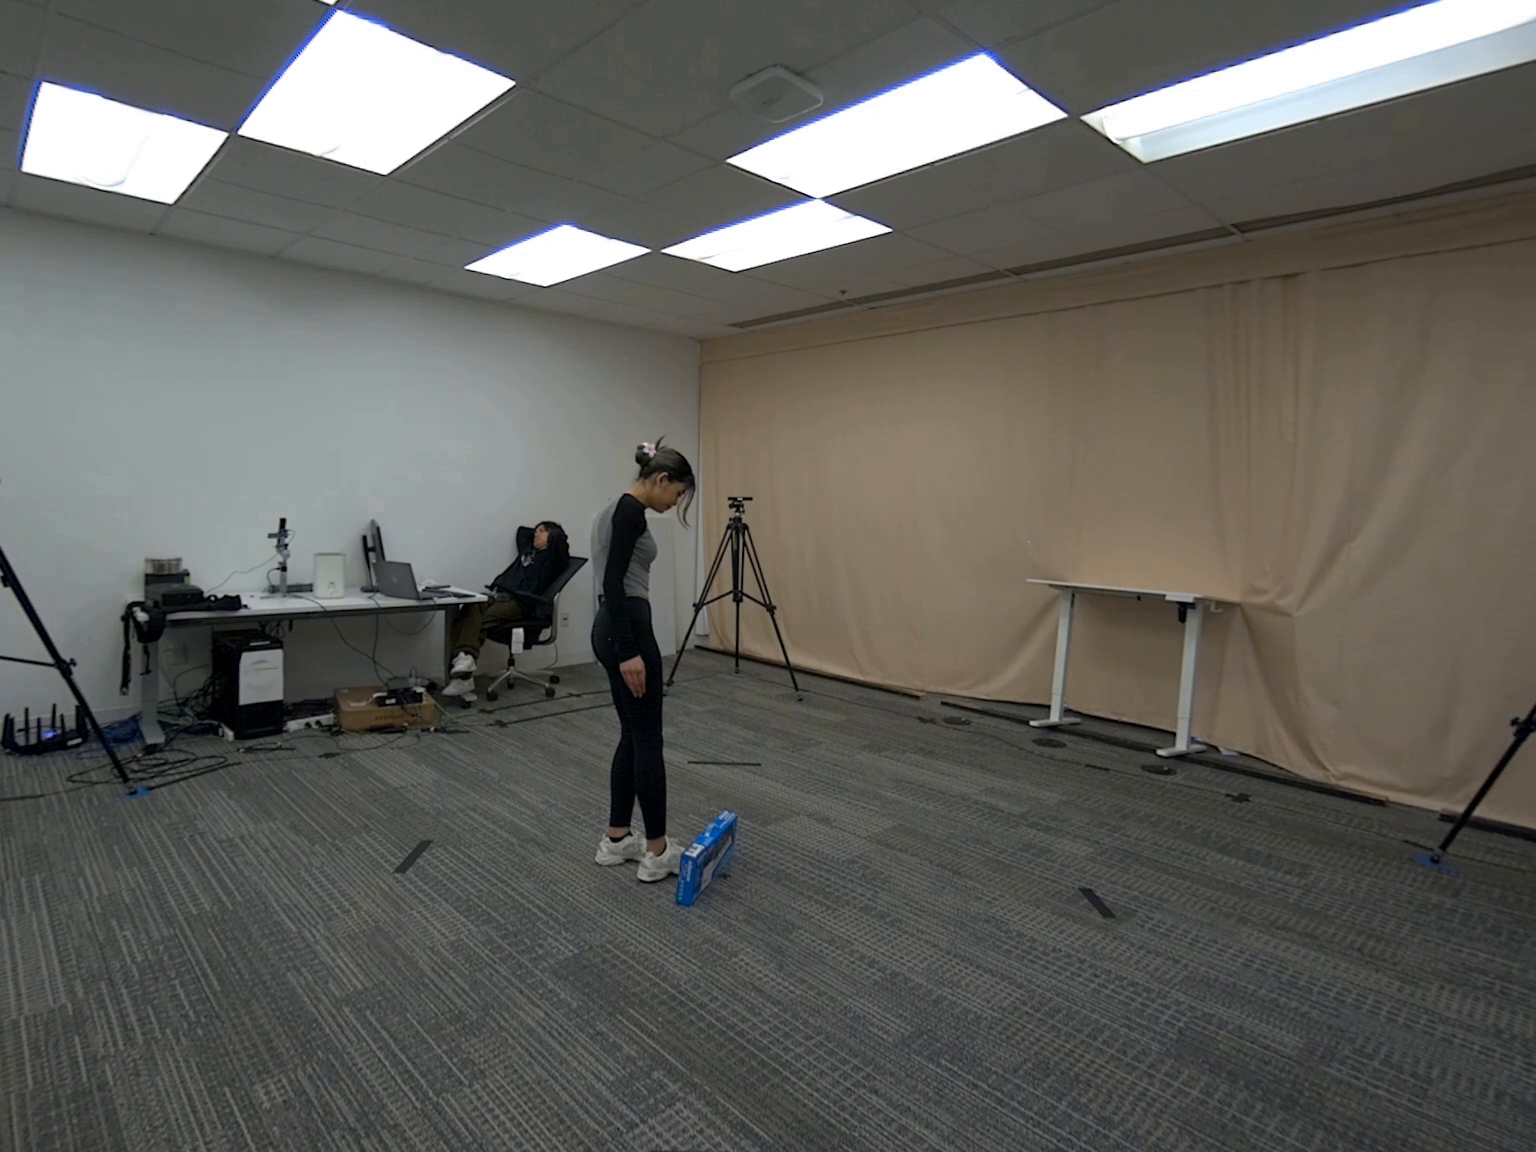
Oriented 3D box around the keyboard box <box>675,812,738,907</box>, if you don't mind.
[{"bbox_3d":[-0.221,1.019,3.068,0.060,0.175,0.432,10,8,16],"label":"keyboard box"}]
